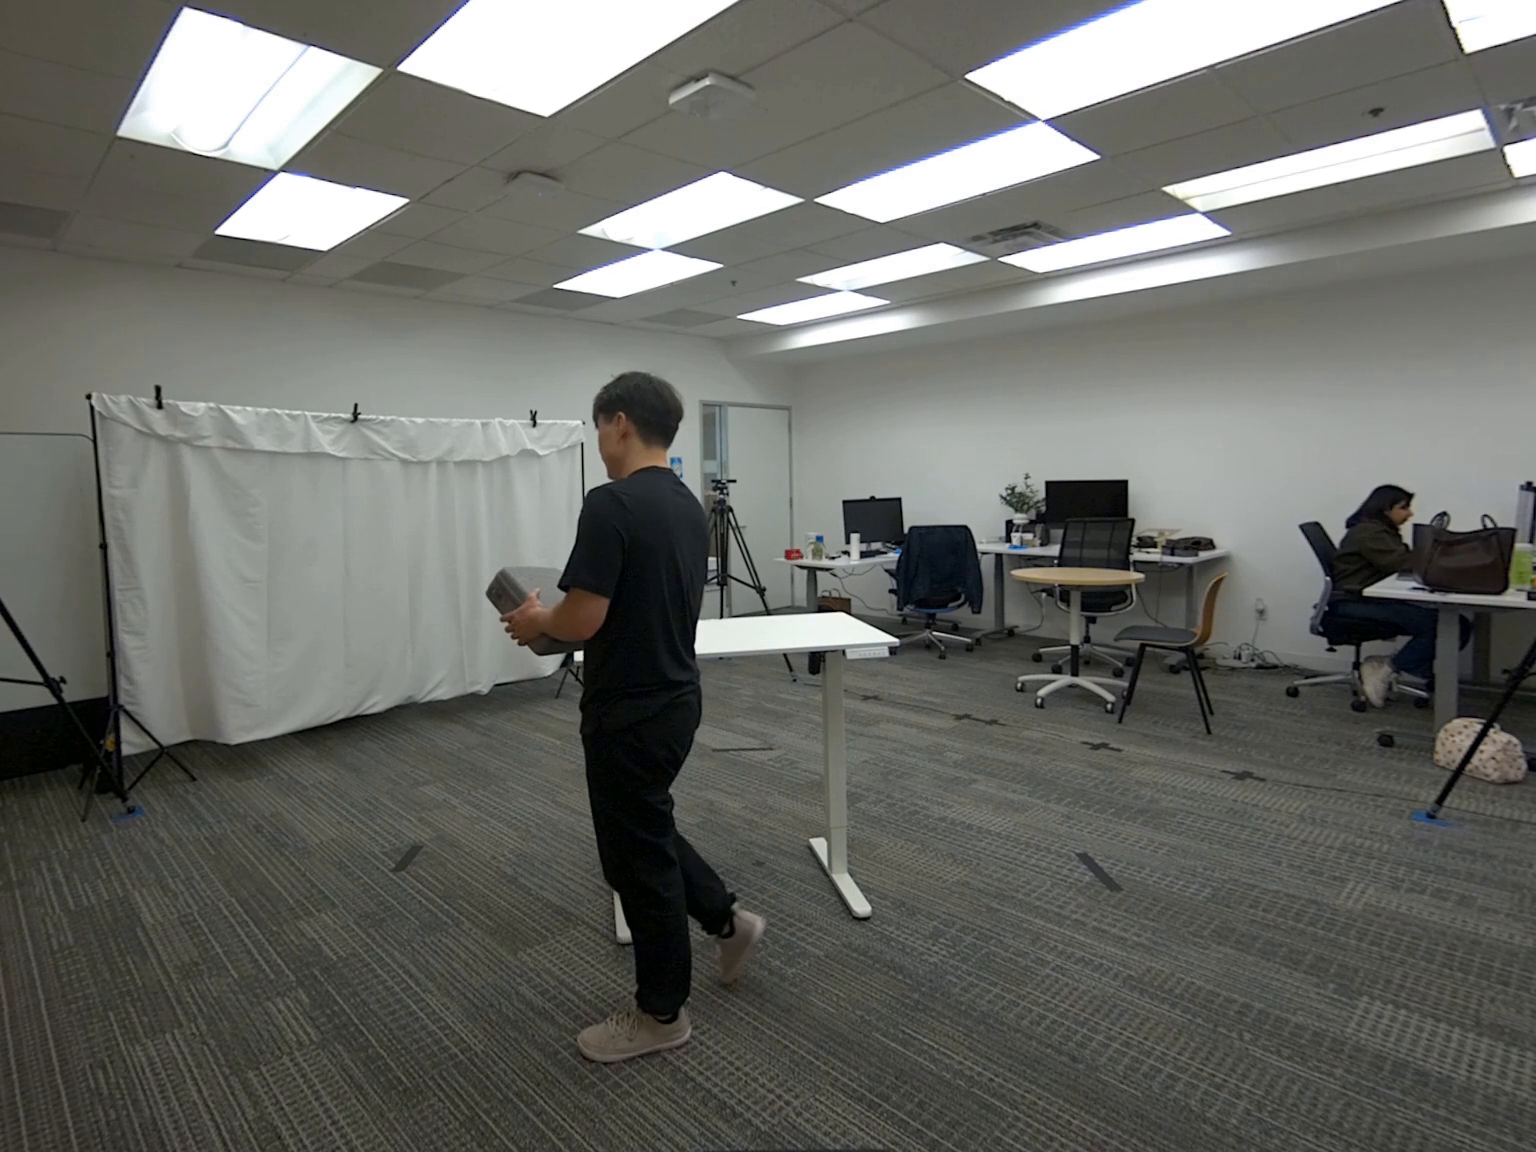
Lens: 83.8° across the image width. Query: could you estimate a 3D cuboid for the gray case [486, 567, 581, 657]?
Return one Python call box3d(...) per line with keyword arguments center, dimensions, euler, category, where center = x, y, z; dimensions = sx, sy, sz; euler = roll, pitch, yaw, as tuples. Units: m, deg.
box3d(center=(-0.575, 0.082, 2.232), dimensions=(0.268, 0.104, 0.250), euler=(44, 16, 22), category="gray case")
